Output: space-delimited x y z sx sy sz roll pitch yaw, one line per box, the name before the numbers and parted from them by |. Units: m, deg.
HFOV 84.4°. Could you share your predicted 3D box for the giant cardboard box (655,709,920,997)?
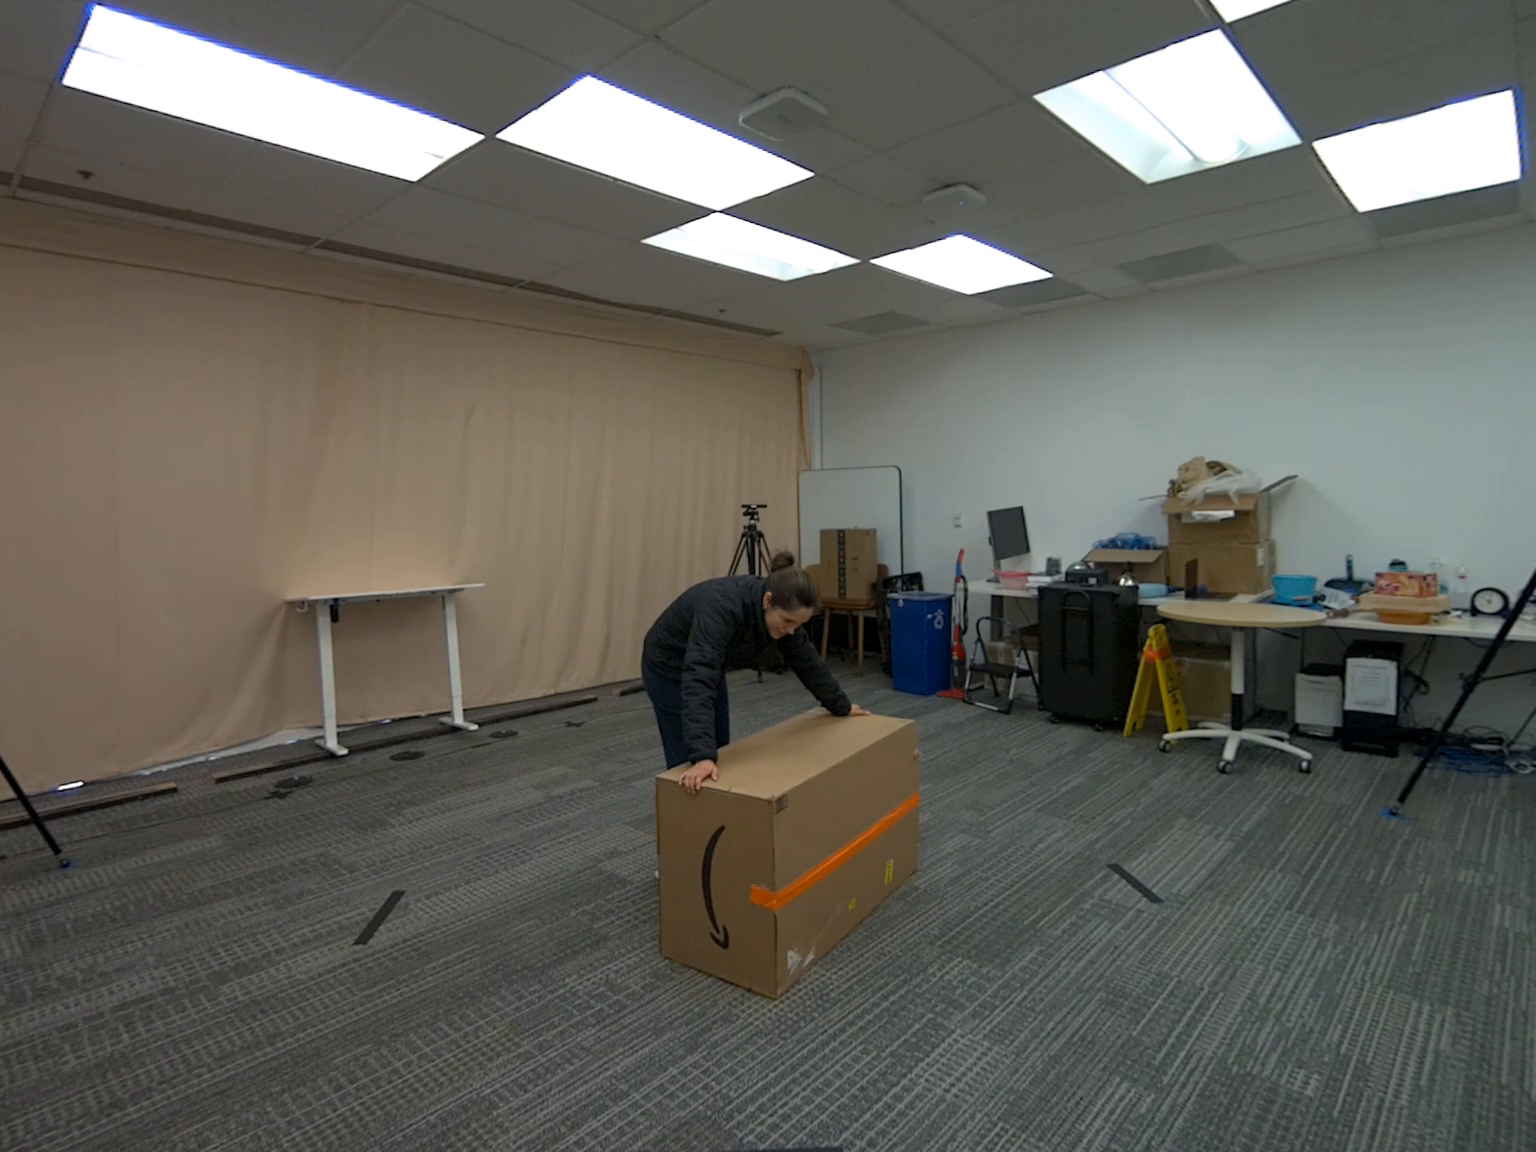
giant cardboard box | 0.132 0.861 2.876 0.460 0.583 0.998 0 4 34
